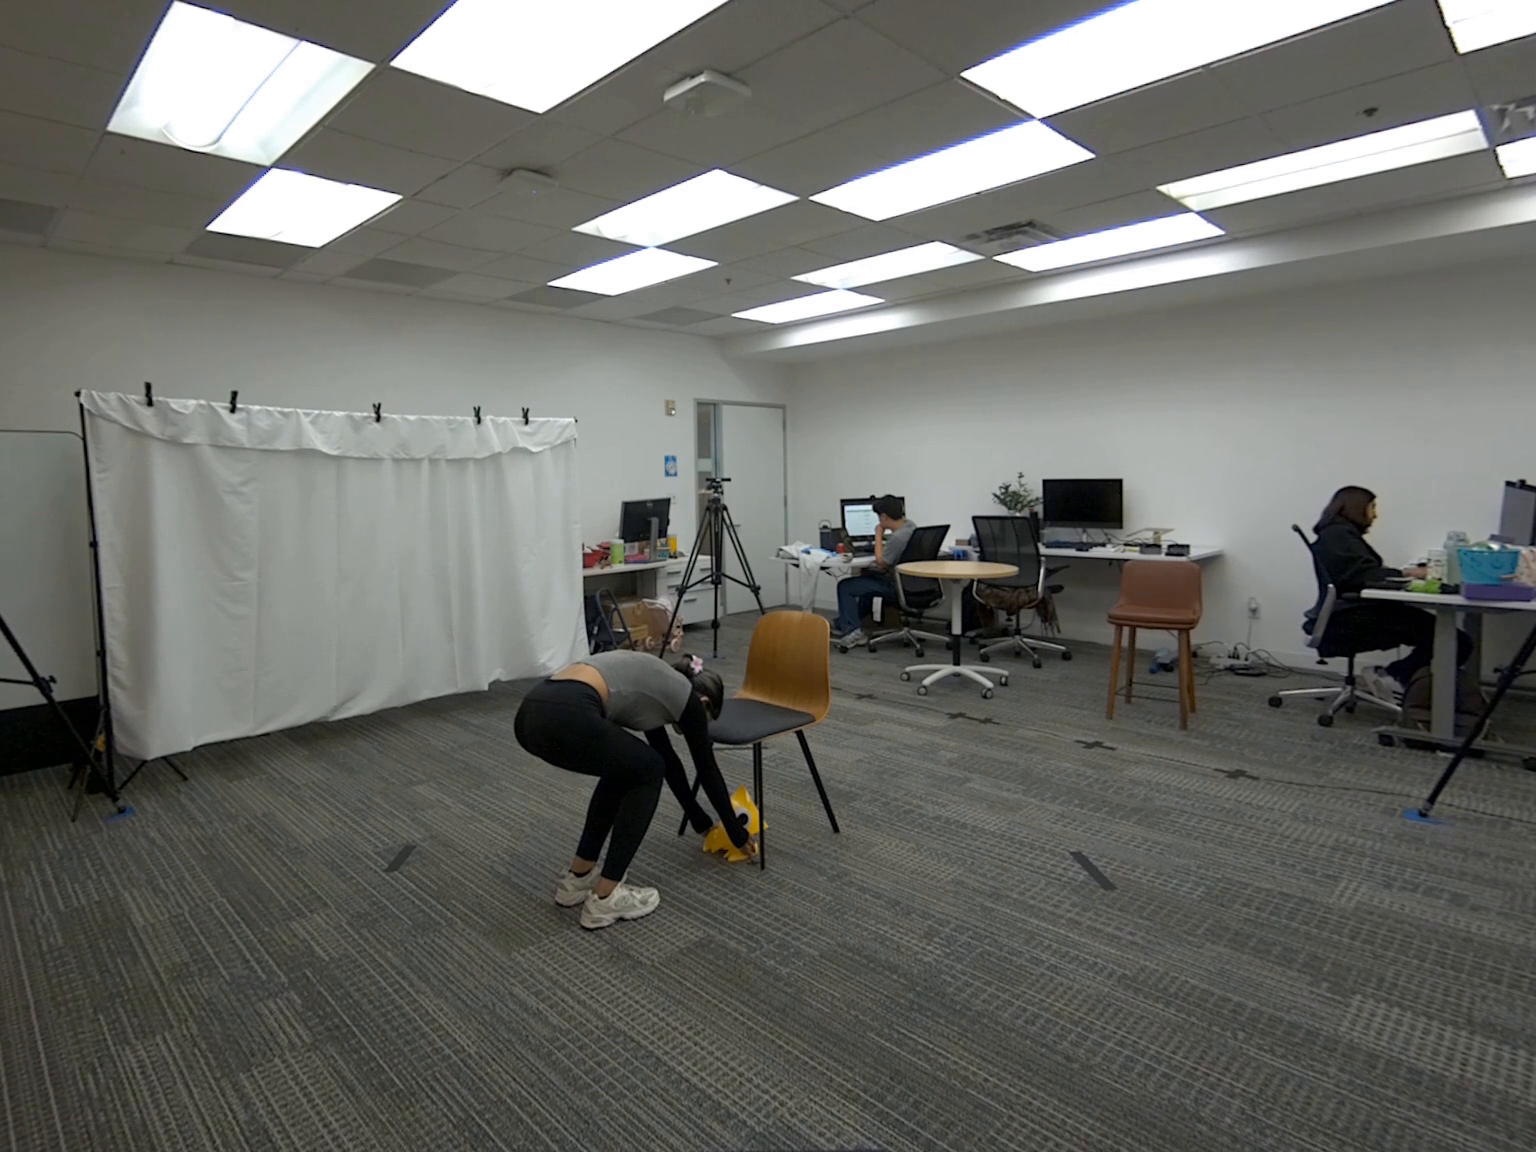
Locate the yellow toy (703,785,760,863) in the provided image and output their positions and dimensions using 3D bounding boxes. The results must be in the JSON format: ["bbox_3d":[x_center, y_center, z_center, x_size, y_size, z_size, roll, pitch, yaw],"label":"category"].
[{"bbox_3d":[-0.132,0.921,3.220,0.211,0.230,0.188,4,6,41],"label":"yellow toy"}]
